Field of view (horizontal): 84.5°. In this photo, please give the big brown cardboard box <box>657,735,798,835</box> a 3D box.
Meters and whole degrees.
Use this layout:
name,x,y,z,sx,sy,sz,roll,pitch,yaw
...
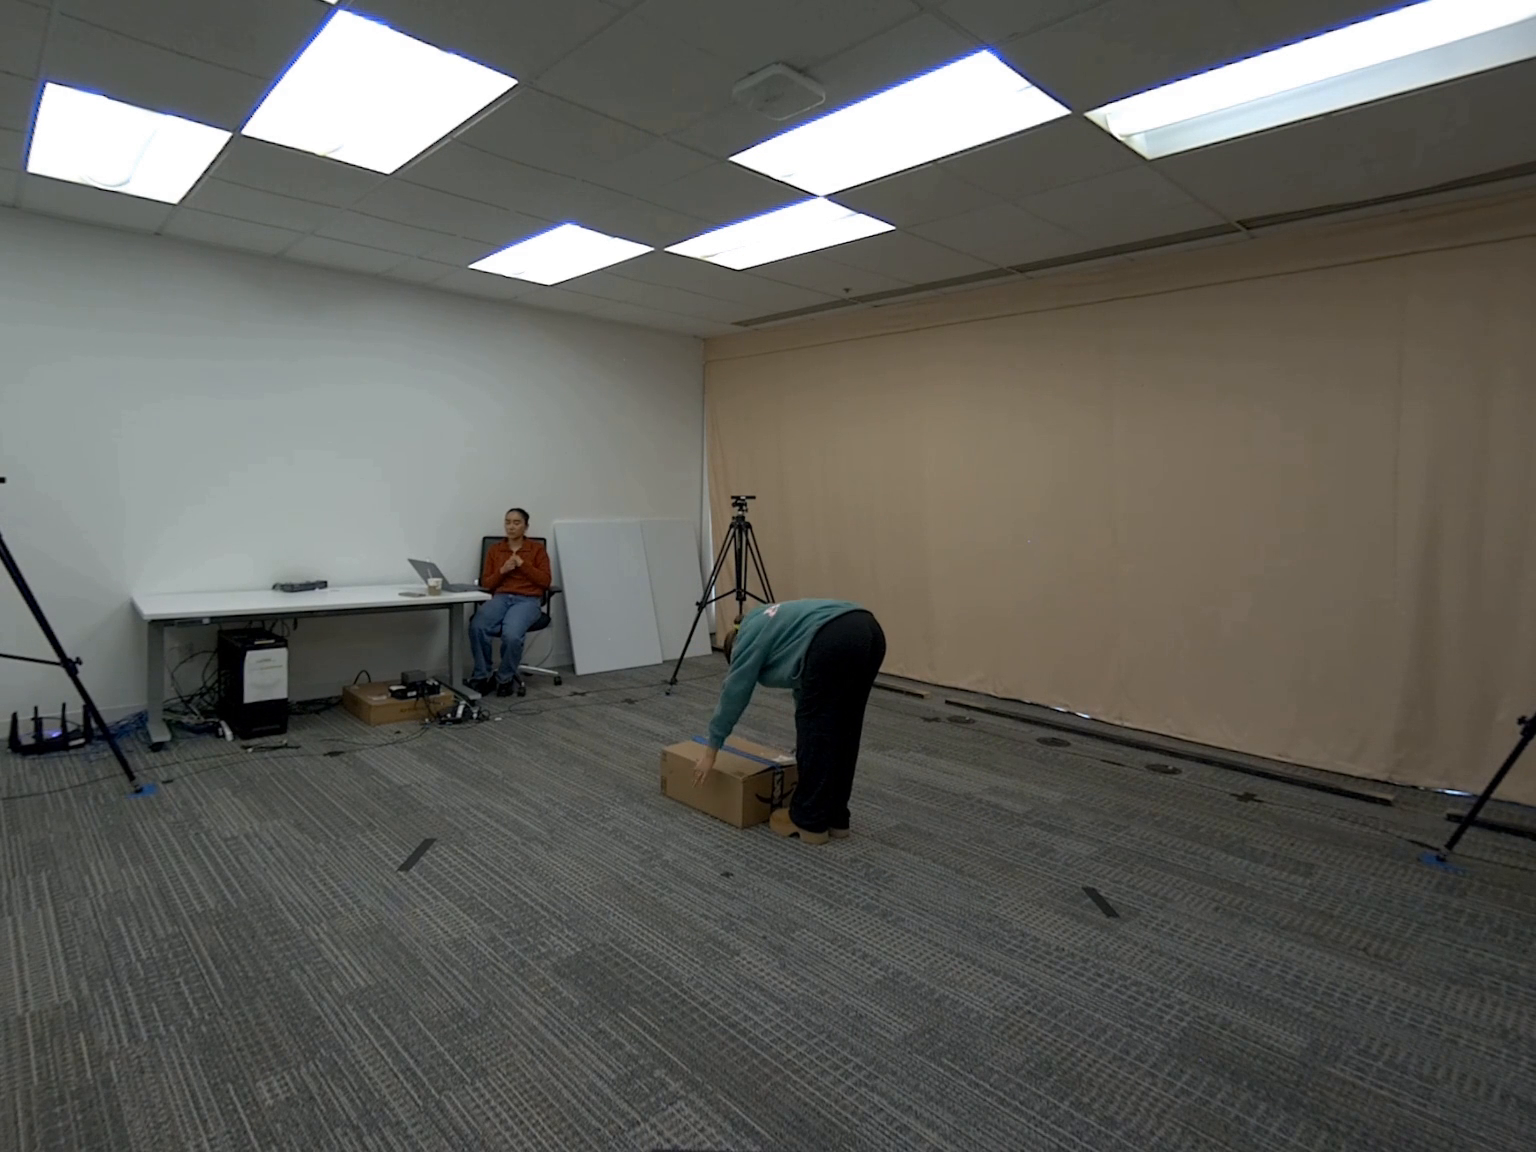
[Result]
name,x,y,z,sx,sy,sz,roll,pitch,yaw
big brown cardboard box,-0.160,0.928,3.867,0.408,0.232,0.604,-3,5,-44
